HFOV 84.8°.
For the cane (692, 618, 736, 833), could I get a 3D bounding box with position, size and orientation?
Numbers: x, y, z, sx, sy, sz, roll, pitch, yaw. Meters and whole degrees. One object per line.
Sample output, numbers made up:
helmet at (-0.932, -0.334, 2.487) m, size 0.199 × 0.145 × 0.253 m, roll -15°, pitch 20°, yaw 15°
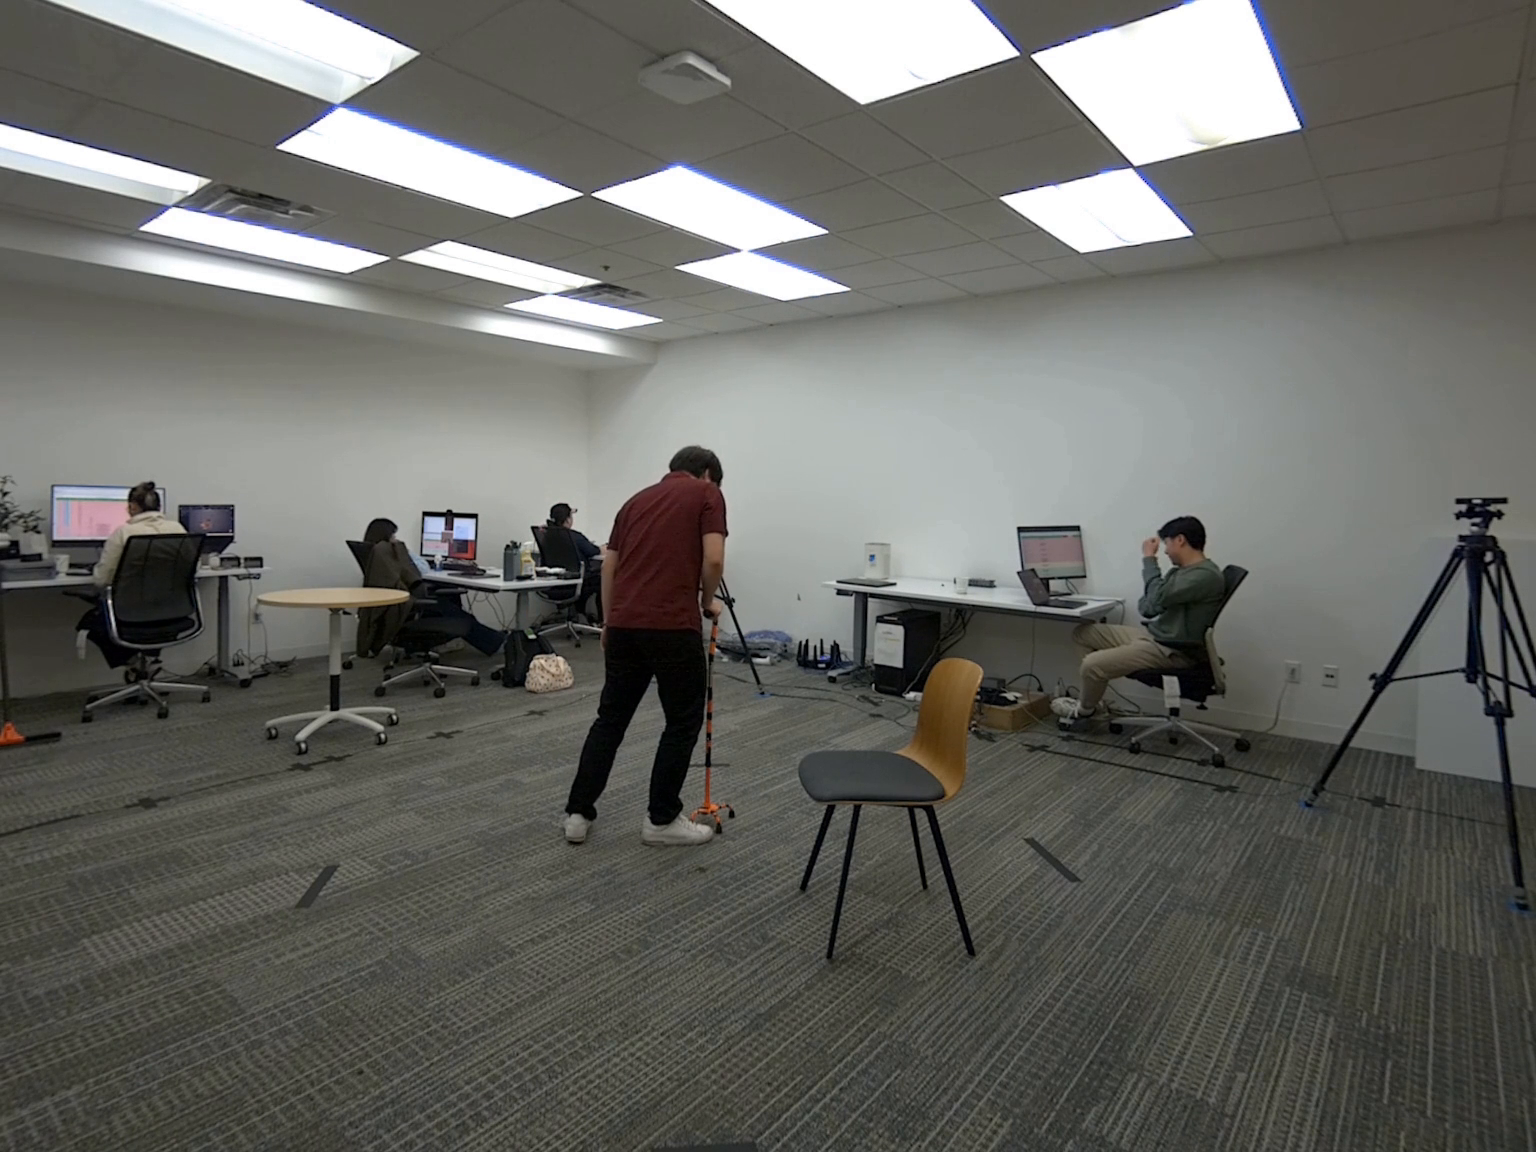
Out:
cane at (-0.235, 0.576, 3.538) m, size 0.154 × 0.906 × 0.204 m, roll 1°, pitch 2°, yaw 13°
